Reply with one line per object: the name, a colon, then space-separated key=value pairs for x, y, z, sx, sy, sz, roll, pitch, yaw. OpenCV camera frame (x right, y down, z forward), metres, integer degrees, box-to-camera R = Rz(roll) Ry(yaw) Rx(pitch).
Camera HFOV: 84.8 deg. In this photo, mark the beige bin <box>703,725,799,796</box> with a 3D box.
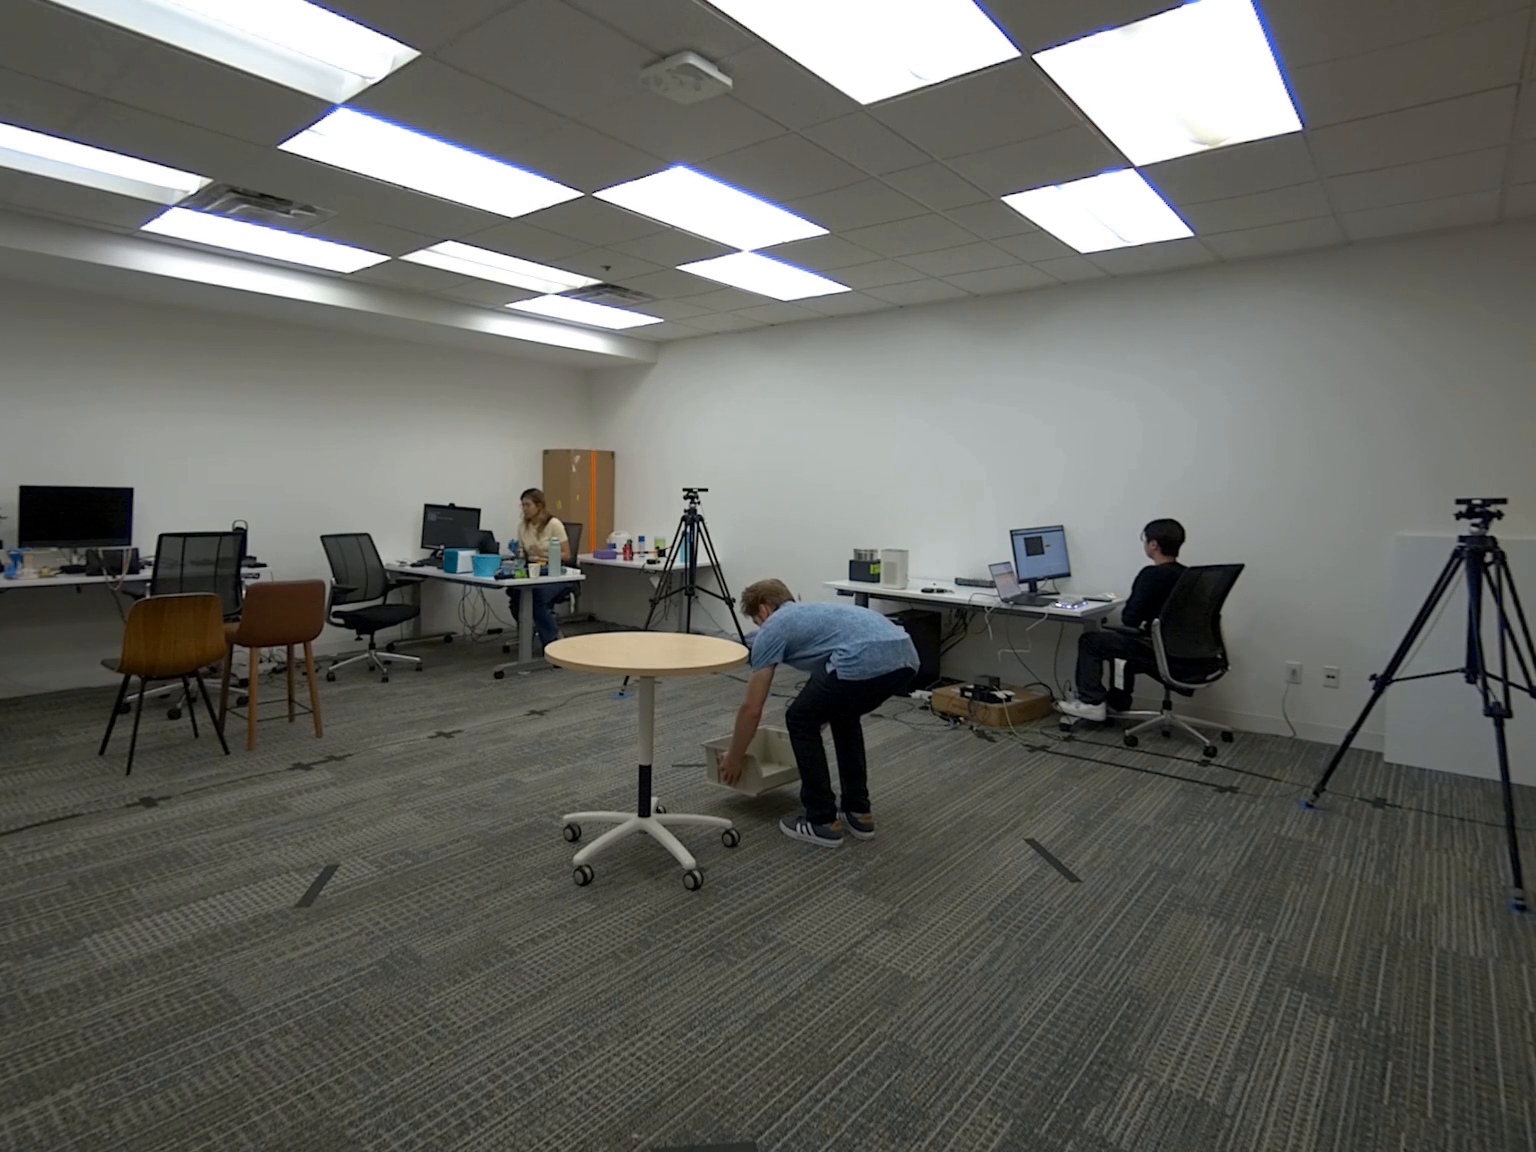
beige bin: x=-0.027 y=0.818 z=3.791 sx=0.410 sy=0.189 sz=0.389 roll=-5 pitch=2 yaw=-44
